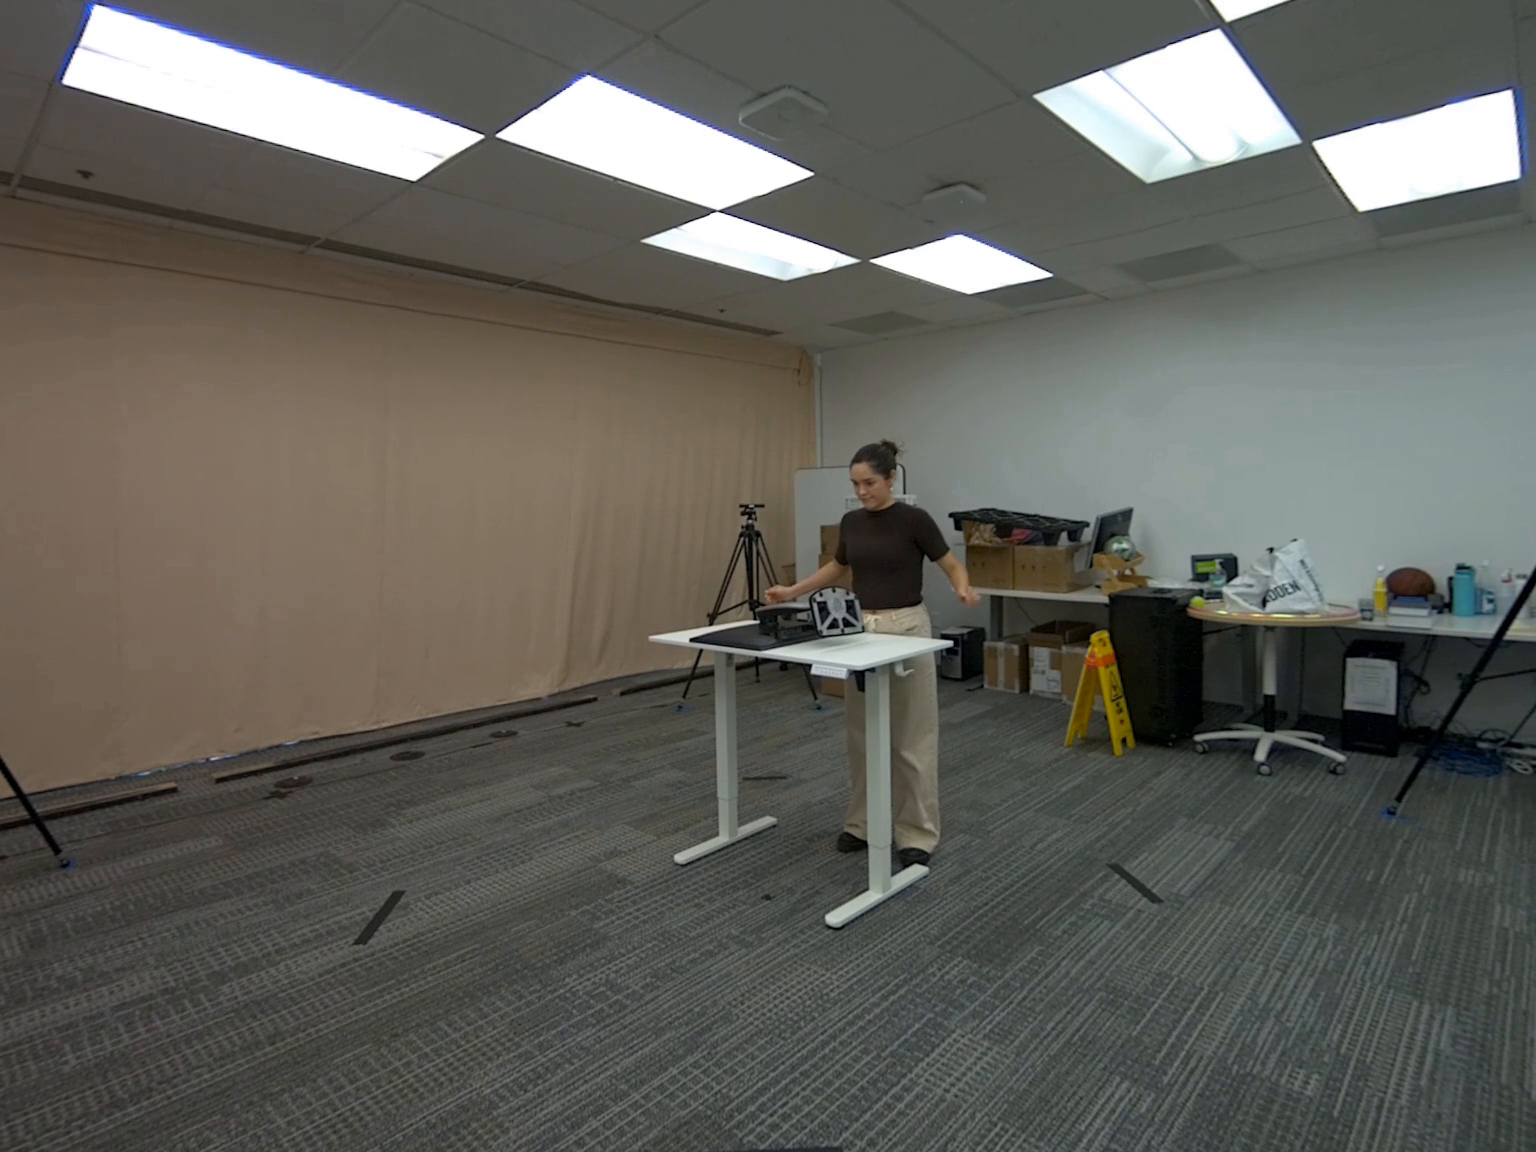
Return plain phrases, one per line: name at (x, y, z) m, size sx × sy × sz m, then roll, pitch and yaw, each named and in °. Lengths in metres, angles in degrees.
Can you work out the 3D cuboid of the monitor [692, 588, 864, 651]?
monitor at (0.072, 0.183, 3.169) m, size 0.535 × 0.188 × 0.522 m, roll -17°, pitch -11°, yaw 43°
